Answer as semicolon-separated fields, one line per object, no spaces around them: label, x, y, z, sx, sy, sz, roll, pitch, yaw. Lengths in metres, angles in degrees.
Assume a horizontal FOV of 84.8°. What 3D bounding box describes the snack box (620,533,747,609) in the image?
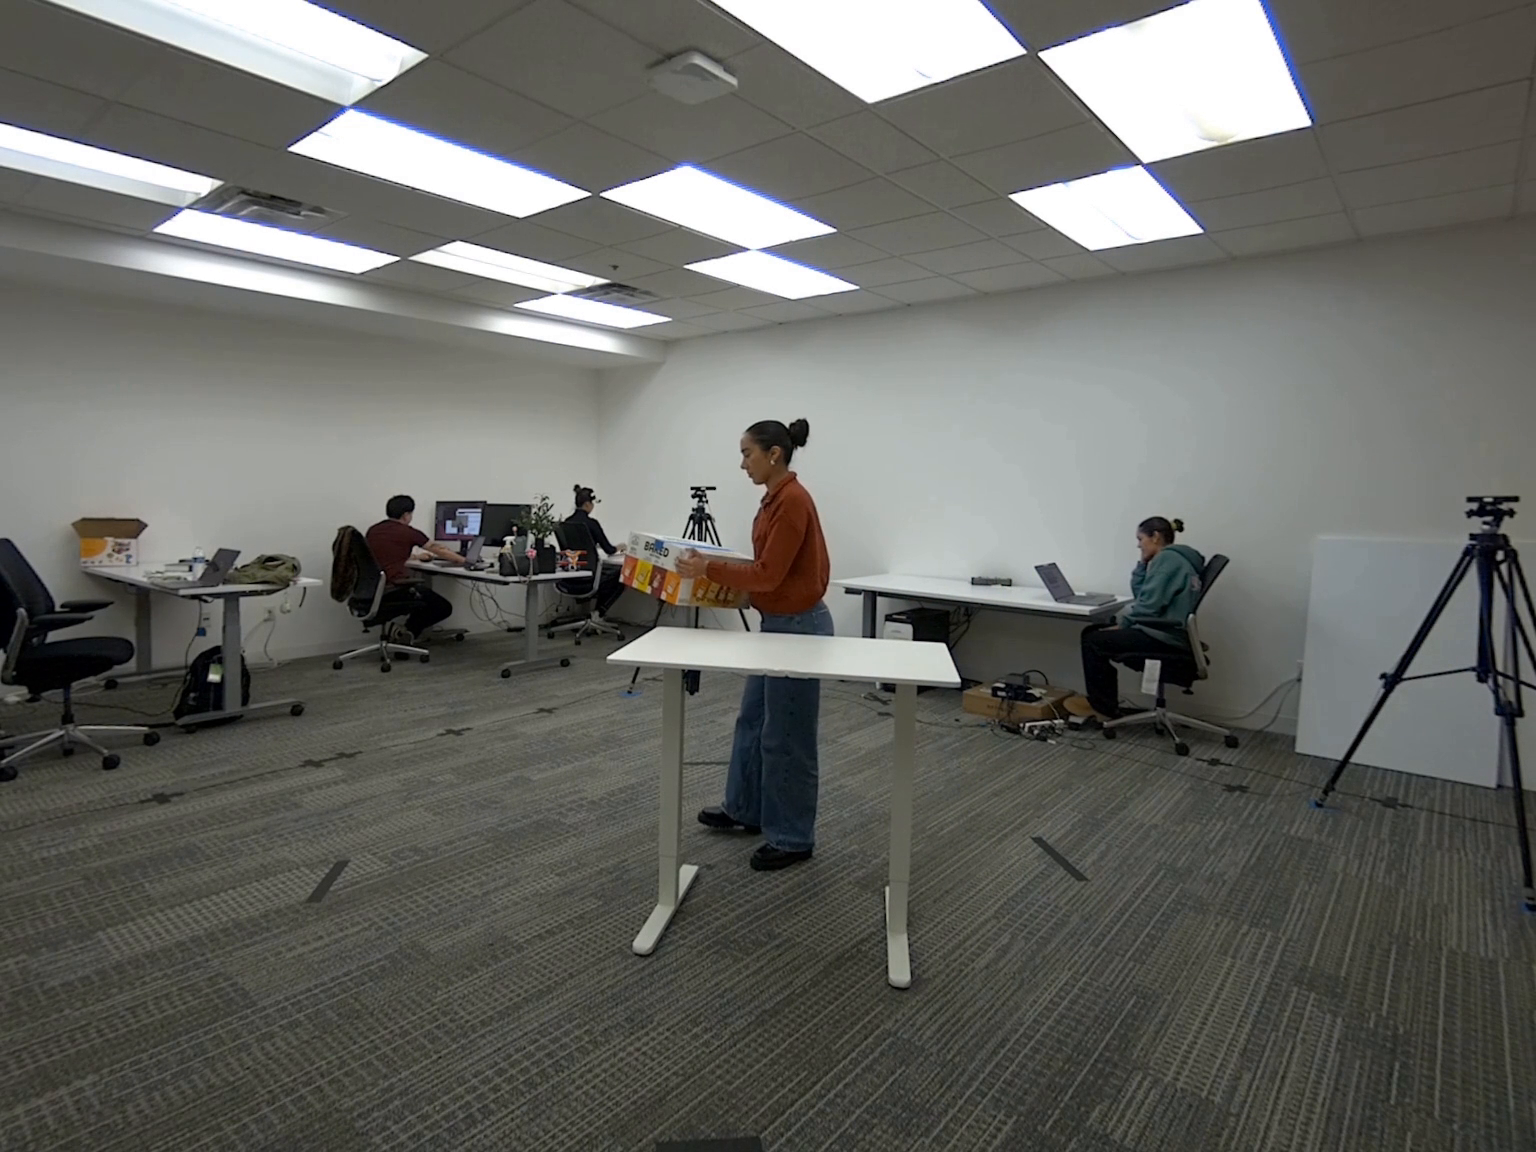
snack box;-0.316;-0.019;3.302;0.354;0.205;0.391;19;8;41
